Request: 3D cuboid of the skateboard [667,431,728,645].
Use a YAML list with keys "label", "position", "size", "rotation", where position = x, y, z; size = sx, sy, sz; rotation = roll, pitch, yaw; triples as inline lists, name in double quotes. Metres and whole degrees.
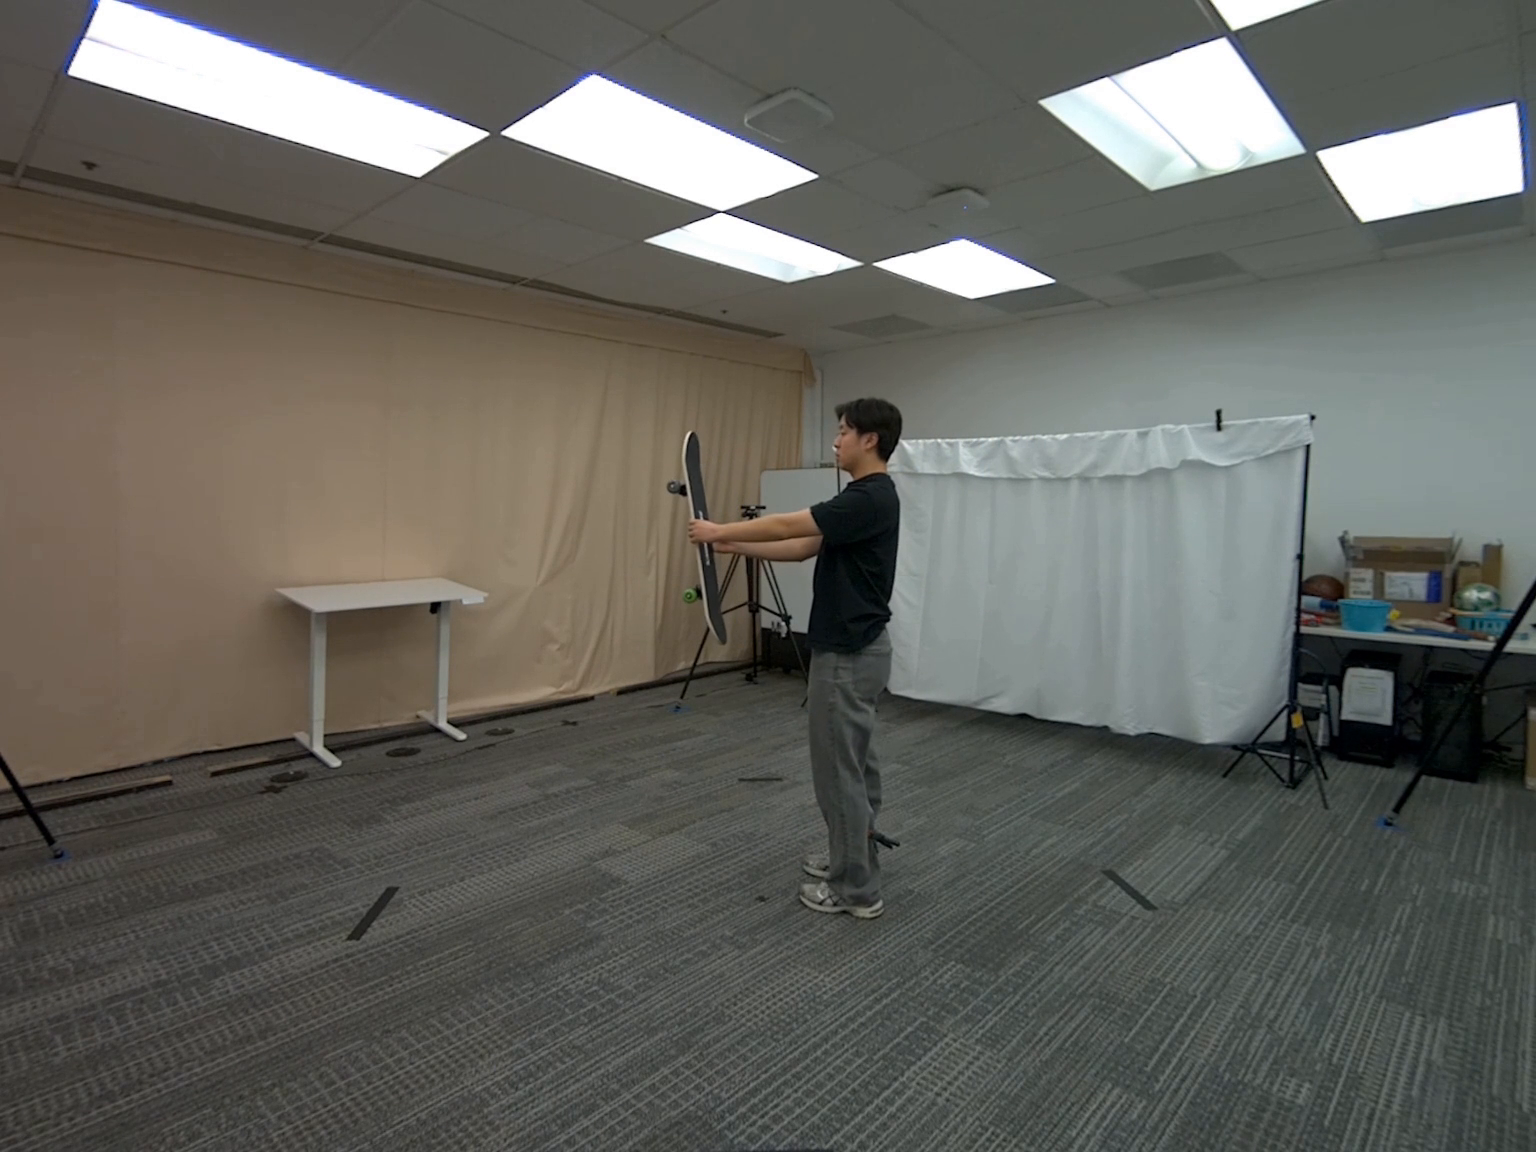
- label: "skateboard"
  position: [-0.256, -0.129, 3.097]
  size: [0.112, 0.787, 0.190]
  rotation: [-10, -2, 13]
